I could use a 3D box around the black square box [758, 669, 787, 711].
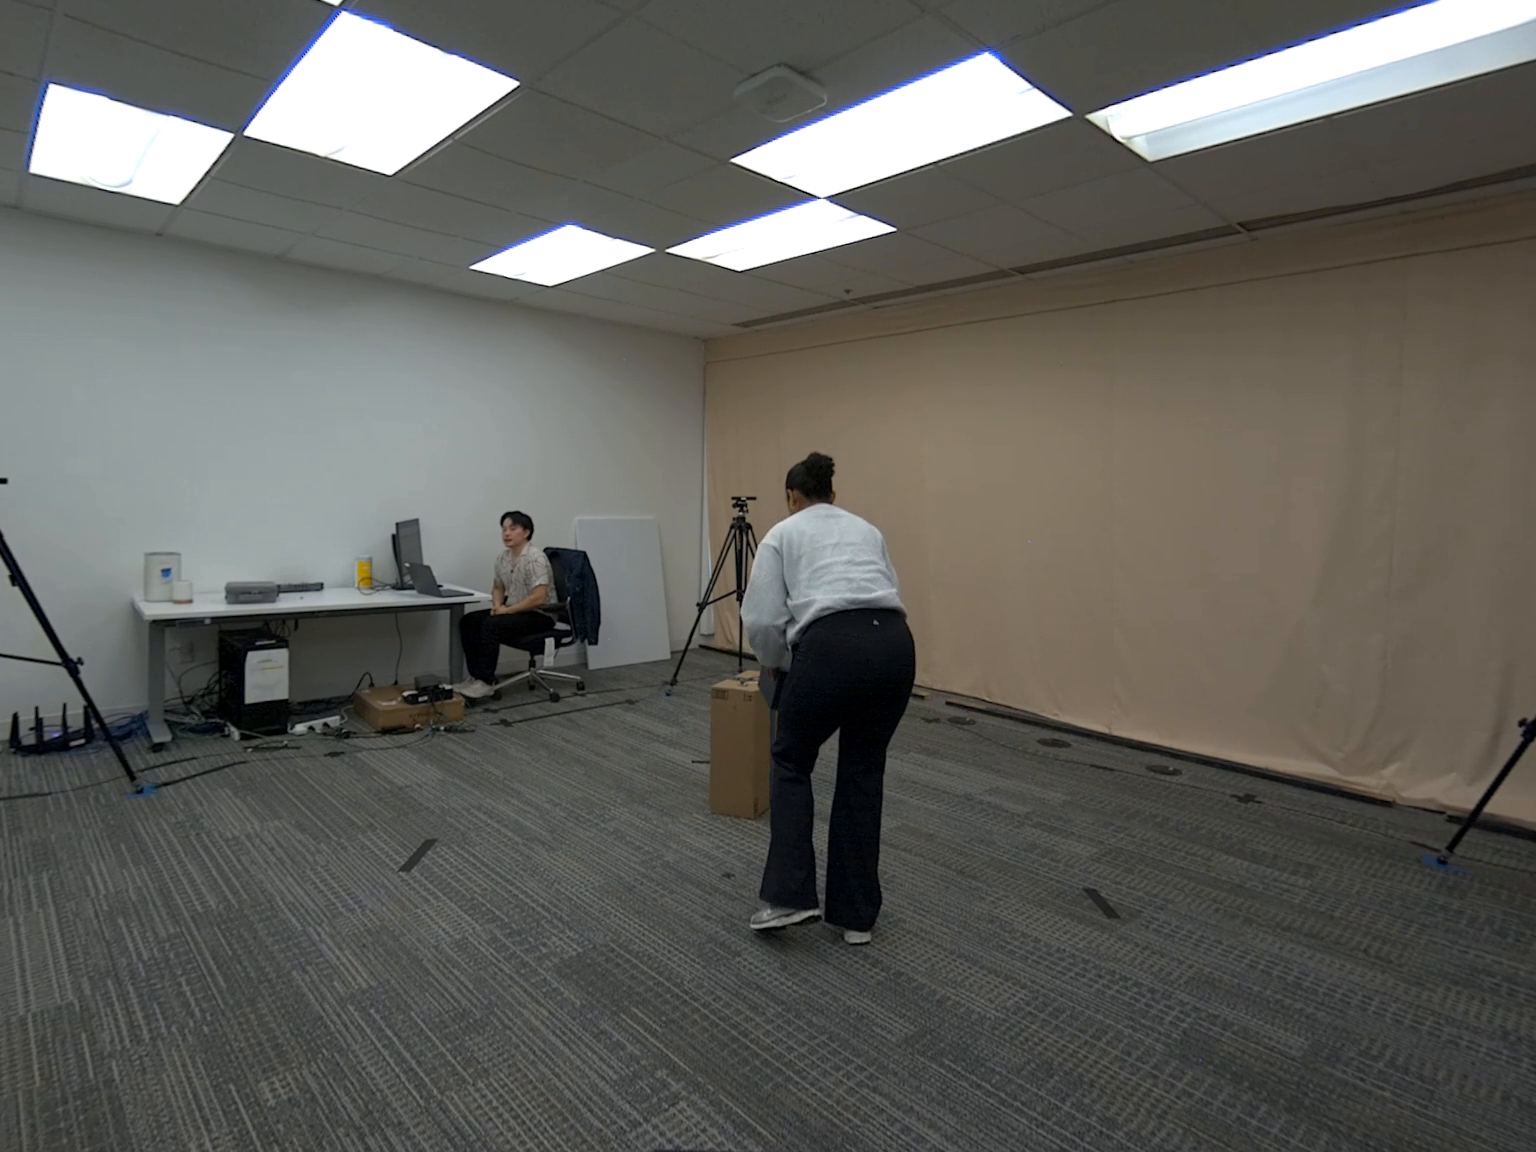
[{"bbox_3d":[0.093,0.408,3.127,0.215,0.154,0.232,9,16,-11],"label":"black square box"}]
